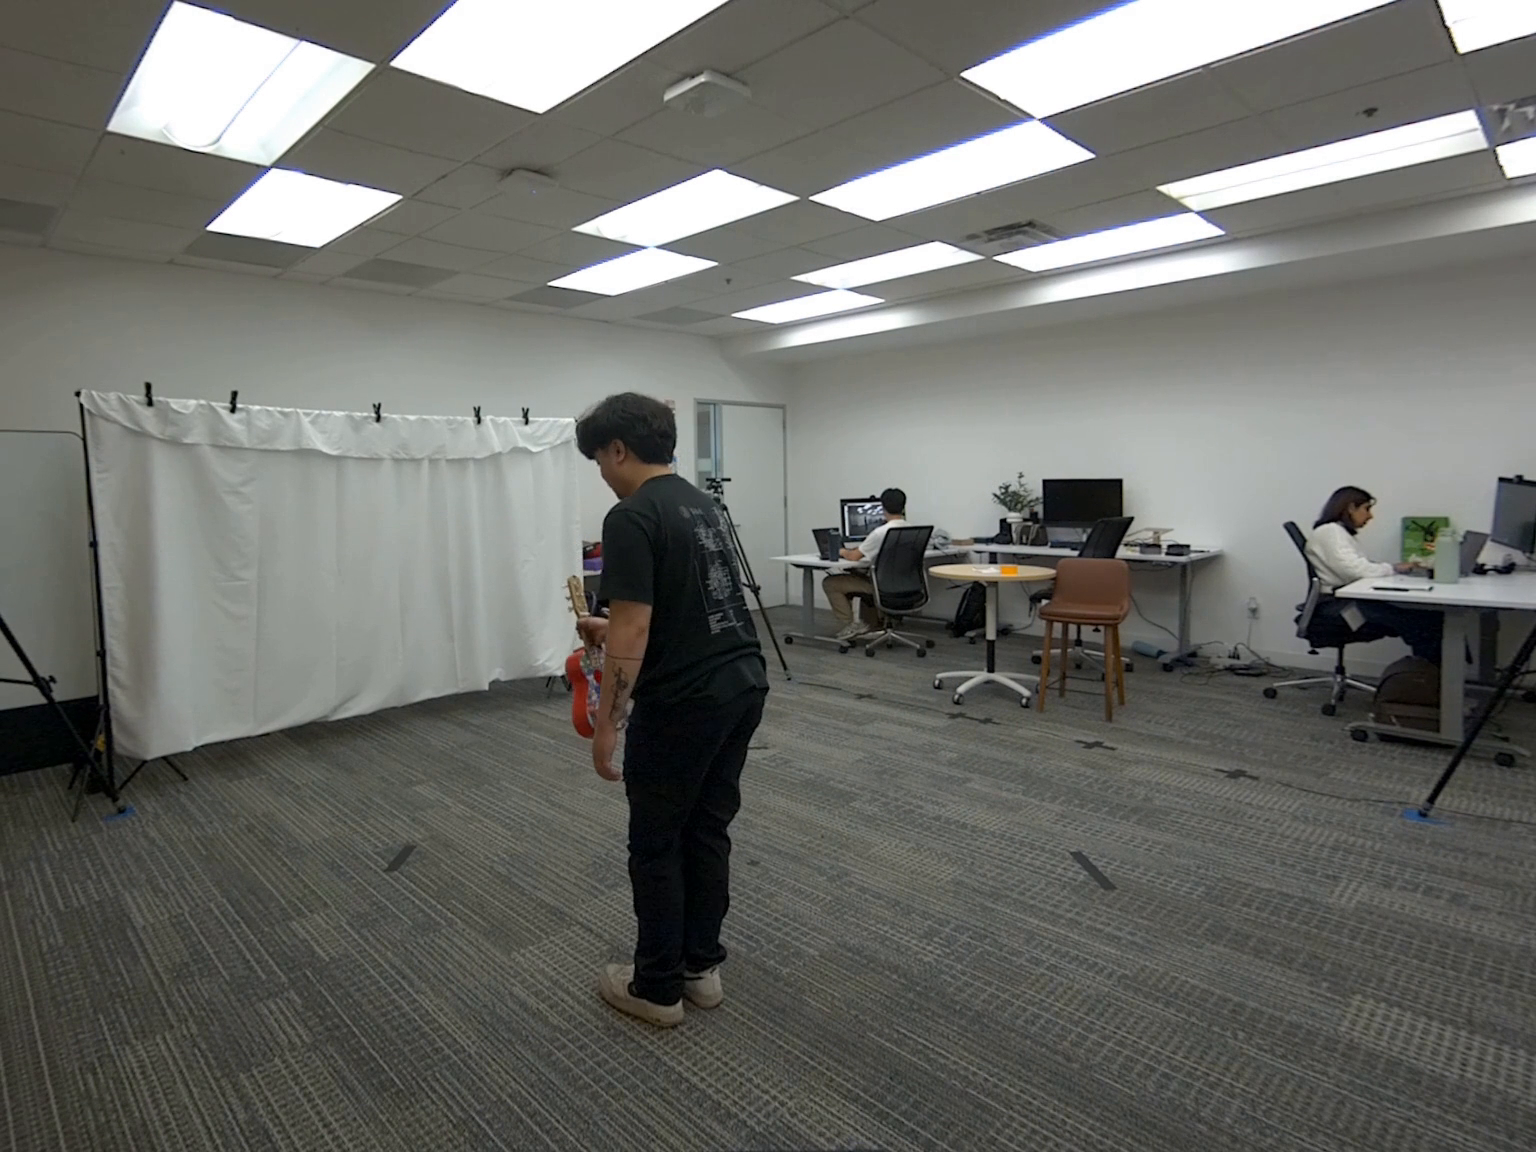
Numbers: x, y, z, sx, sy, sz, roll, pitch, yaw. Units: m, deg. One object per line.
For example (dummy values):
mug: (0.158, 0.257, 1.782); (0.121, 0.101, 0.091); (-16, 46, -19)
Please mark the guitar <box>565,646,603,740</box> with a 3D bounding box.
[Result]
guitar: (-0.541, 0.255, 2.640); (0.071, 0.508, 0.187); (-22, -20, 26)
